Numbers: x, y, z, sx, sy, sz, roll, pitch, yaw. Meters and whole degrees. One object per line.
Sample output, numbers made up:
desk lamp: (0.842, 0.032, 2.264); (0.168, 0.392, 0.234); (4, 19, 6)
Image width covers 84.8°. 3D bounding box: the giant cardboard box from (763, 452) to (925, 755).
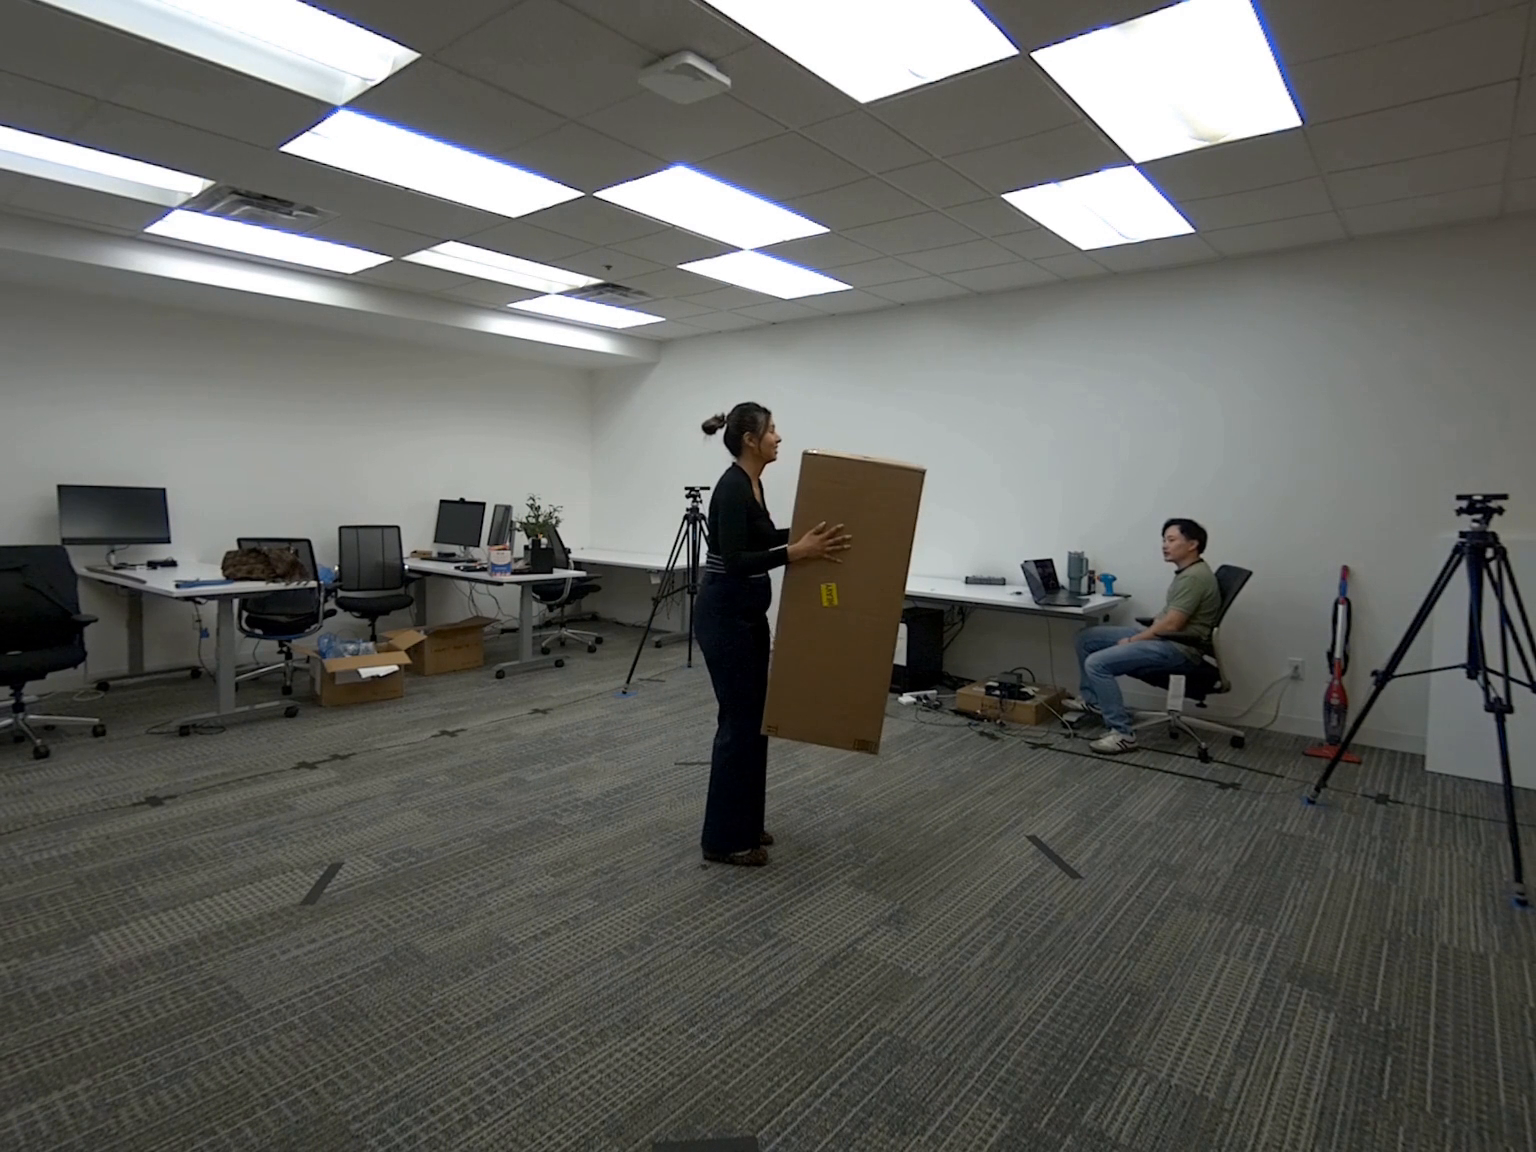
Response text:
giant cardboard box: (0.269, 0.063, 3.234); (0.430, 1.019, 0.577); (9, 9, 5)
